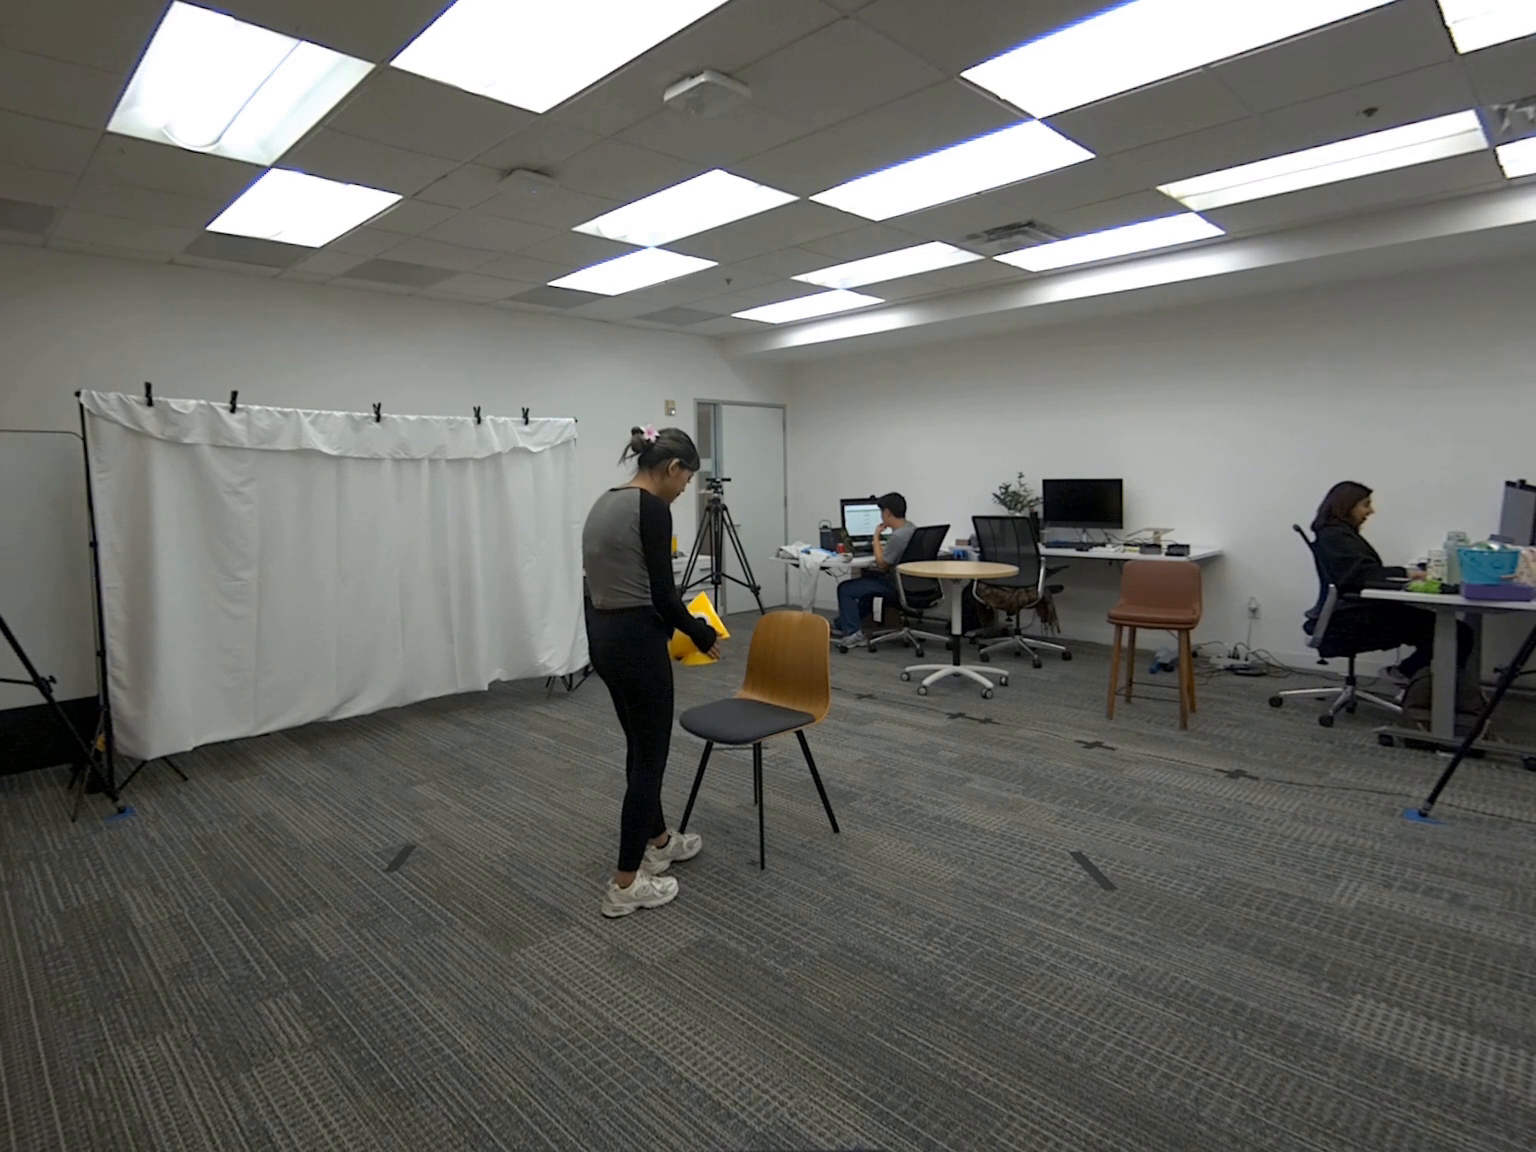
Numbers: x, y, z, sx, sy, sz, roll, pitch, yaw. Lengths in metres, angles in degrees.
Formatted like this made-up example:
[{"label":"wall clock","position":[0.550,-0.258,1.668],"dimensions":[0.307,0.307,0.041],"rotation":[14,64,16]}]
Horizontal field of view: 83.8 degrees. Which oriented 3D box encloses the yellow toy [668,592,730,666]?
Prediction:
[{"label":"yellow toy","position":[-0.266,0.175,2.971],"dimensions":[0.188,0.230,0.211],"rotation":[-4,5,-44]}]
